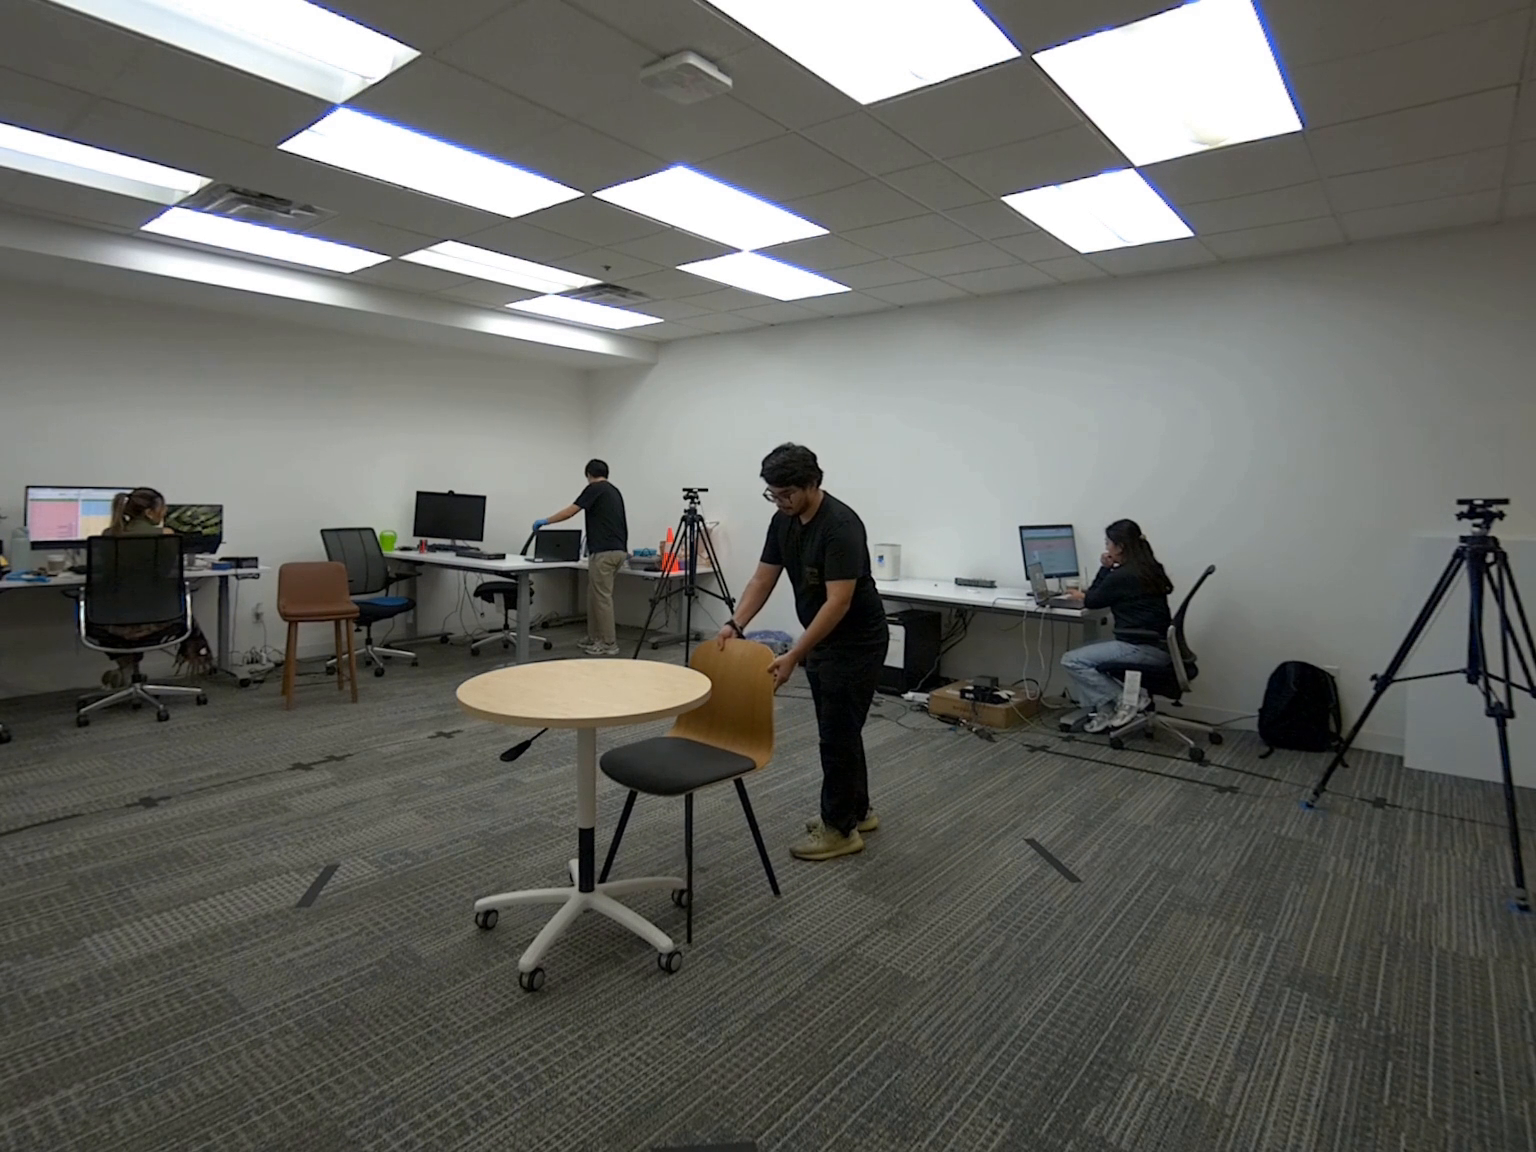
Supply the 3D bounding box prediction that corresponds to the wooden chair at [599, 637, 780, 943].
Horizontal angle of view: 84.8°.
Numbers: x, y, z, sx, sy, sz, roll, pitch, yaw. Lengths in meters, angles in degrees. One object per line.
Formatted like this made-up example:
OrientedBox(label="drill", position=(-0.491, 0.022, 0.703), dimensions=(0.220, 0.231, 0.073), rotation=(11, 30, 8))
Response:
OrientedBox(label="wooden chair", position=(-0.277, 0.663, 2.879), dimensions=(0.494, 0.877, 0.506), rotation=(4, 1, 41))
